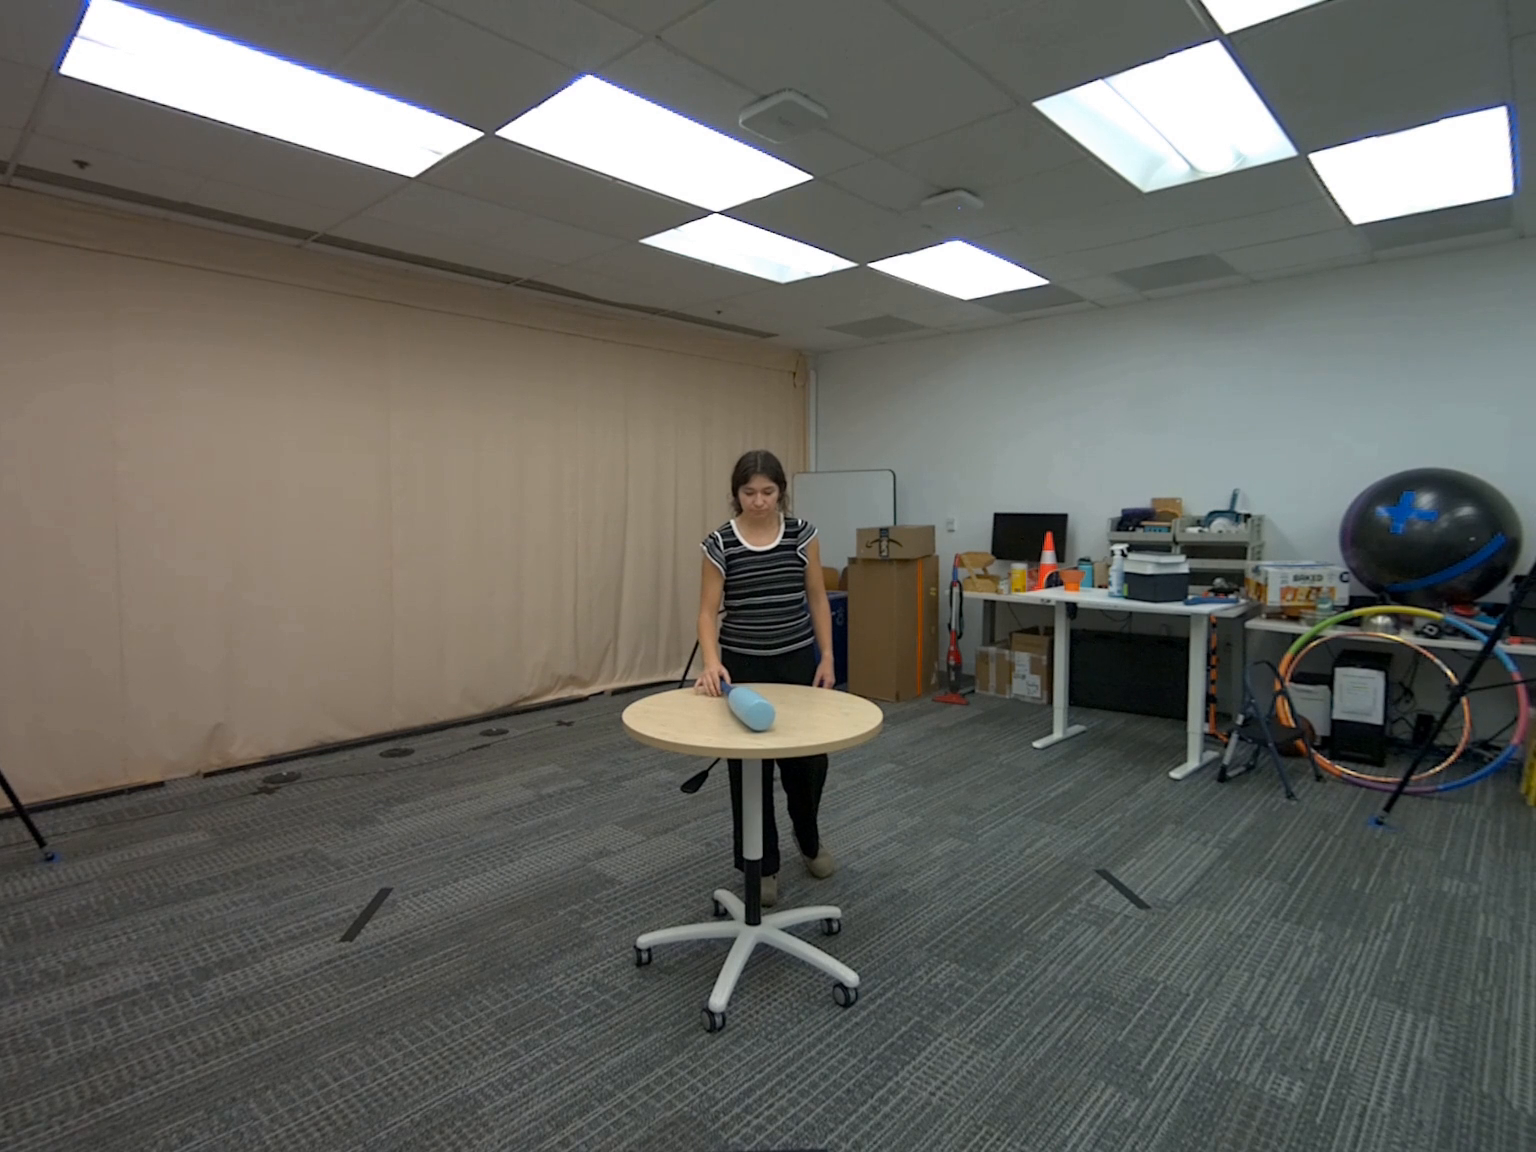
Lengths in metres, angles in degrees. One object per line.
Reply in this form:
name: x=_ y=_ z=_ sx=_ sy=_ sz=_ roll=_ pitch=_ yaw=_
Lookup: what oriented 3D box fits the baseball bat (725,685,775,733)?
baseball bat: x=-0.083 y=0.363 z=2.512 sx=0.088 sy=0.089 sz=0.551 roll=-1 pitch=2 yaw=-15
